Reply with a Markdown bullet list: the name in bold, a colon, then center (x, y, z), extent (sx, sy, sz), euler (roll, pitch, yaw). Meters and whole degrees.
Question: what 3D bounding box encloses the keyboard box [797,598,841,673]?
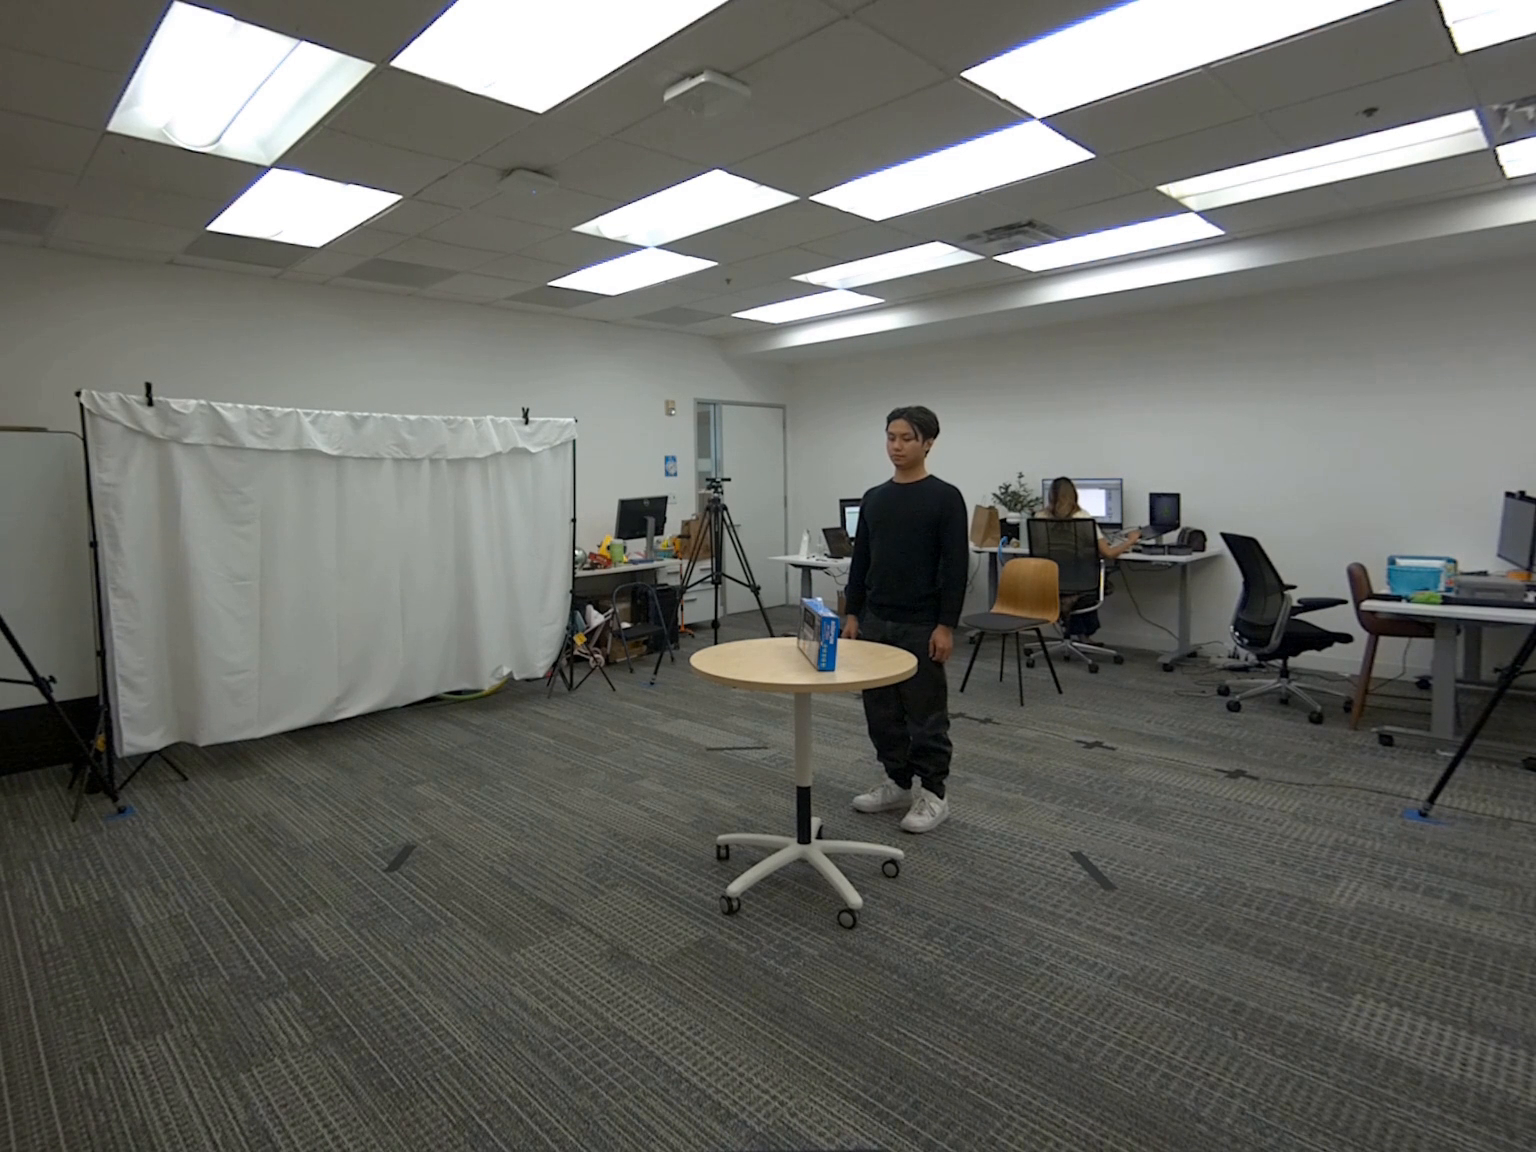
- **keyboard box**: center (0.169, 0.191, 2.891), extent (0.059, 0.175, 0.440), euler (4, 5, -6)
